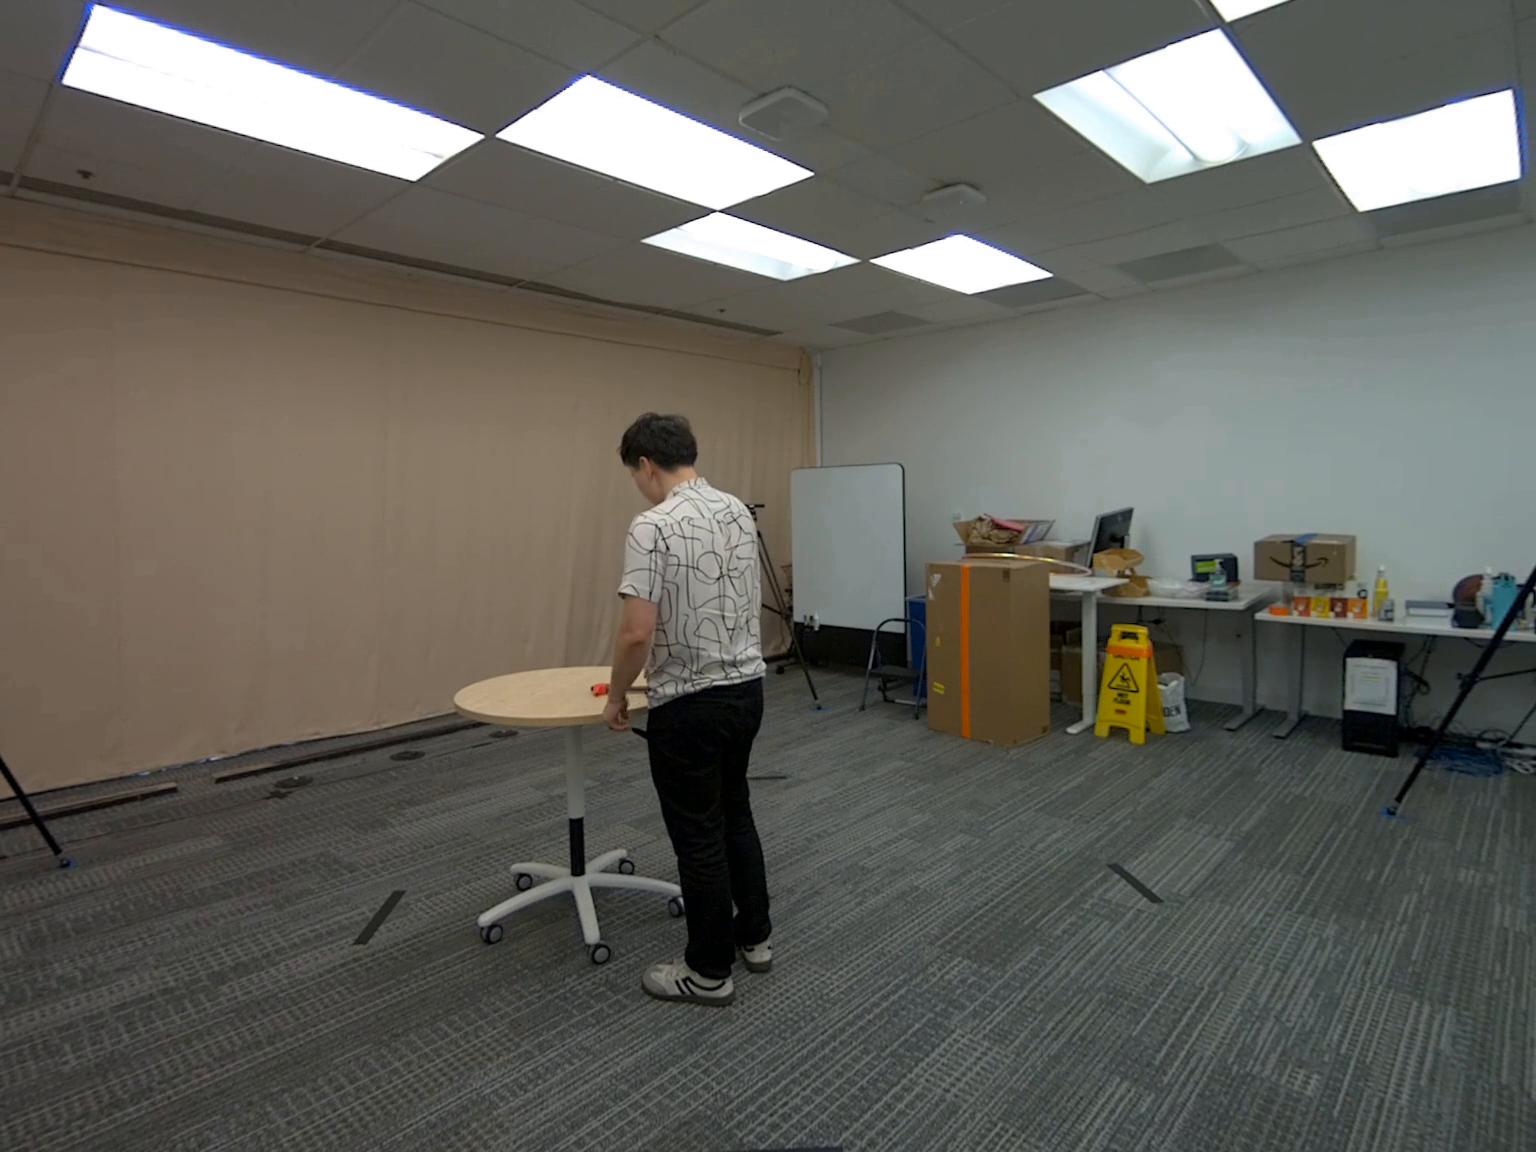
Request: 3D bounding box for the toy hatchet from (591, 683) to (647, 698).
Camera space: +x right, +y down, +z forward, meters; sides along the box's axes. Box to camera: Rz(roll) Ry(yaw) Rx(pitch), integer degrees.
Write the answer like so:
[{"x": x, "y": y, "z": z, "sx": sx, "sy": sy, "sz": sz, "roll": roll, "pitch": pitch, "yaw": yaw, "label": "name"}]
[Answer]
[{"x": -0.458, "y": 0.373, "z": 2.801, "sx": 0.266, "sy": 0.029, "sz": 0.133, "roll": -1, "pitch": 2, "yaw": -15, "label": "toy hatchet"}]
